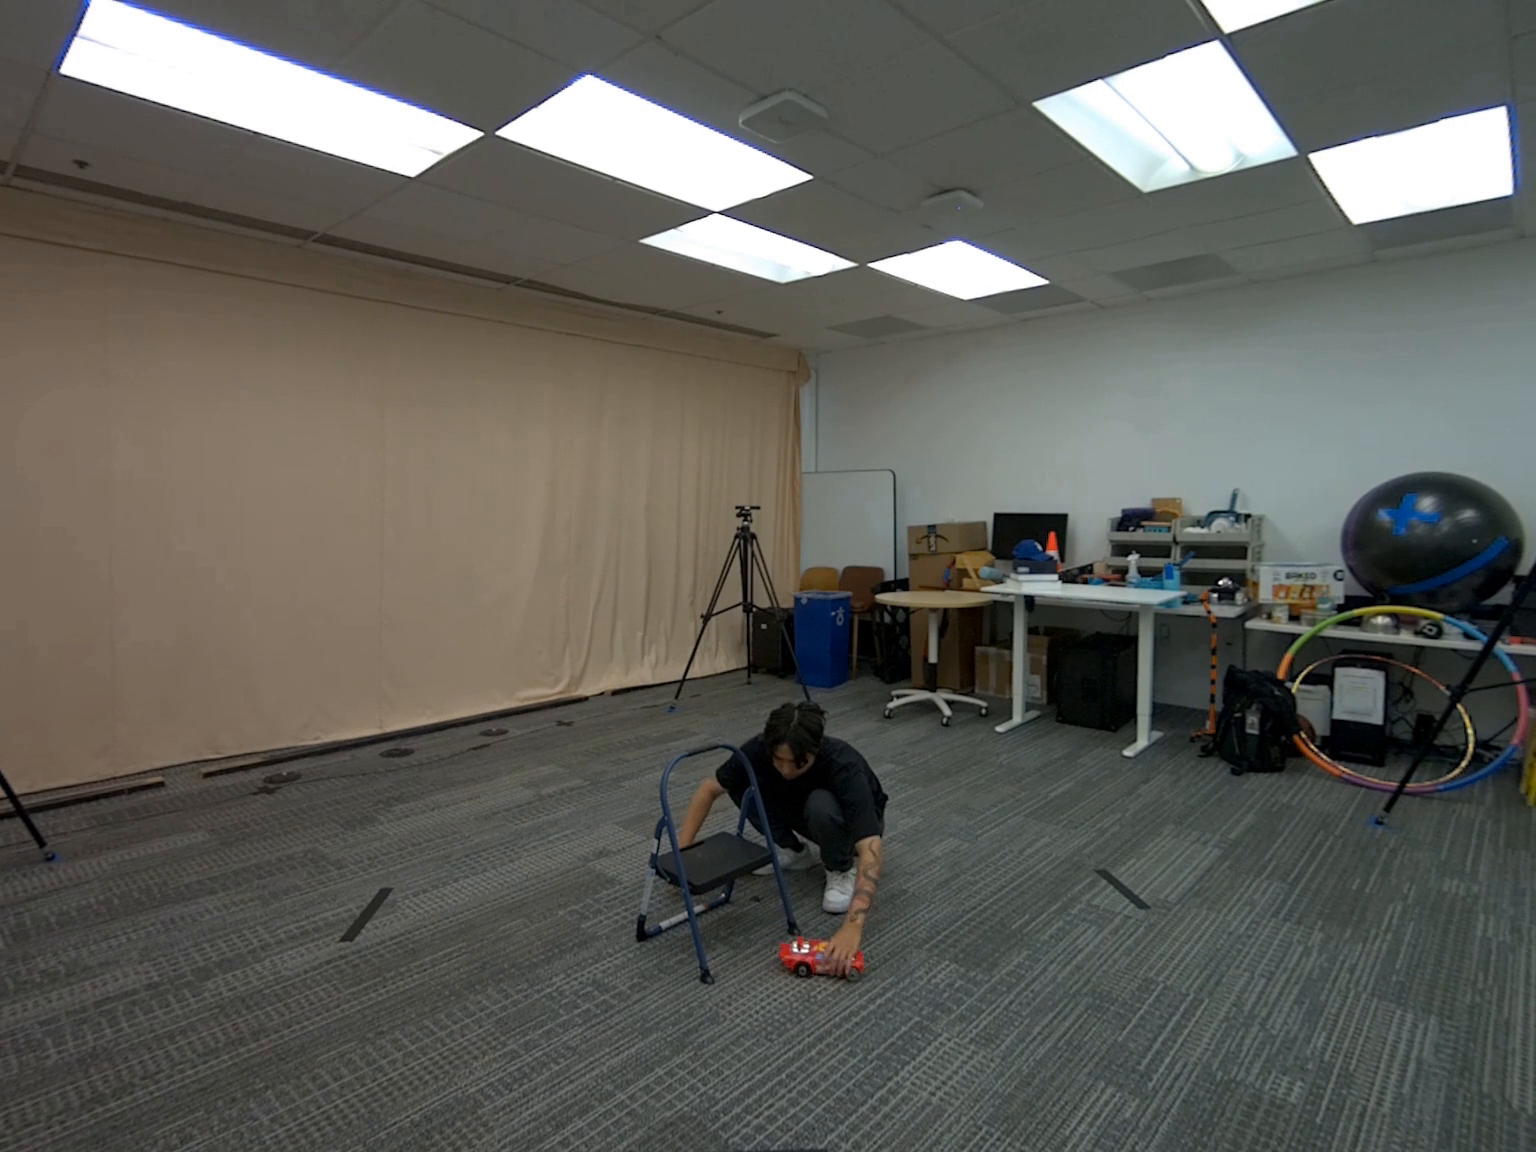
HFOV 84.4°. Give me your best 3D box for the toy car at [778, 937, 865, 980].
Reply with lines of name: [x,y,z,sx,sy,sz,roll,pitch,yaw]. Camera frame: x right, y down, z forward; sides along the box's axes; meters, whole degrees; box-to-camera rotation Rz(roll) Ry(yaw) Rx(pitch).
toy car: [0.158,1.157,2.533,0.256,0.083,0.130,13,6,5]
